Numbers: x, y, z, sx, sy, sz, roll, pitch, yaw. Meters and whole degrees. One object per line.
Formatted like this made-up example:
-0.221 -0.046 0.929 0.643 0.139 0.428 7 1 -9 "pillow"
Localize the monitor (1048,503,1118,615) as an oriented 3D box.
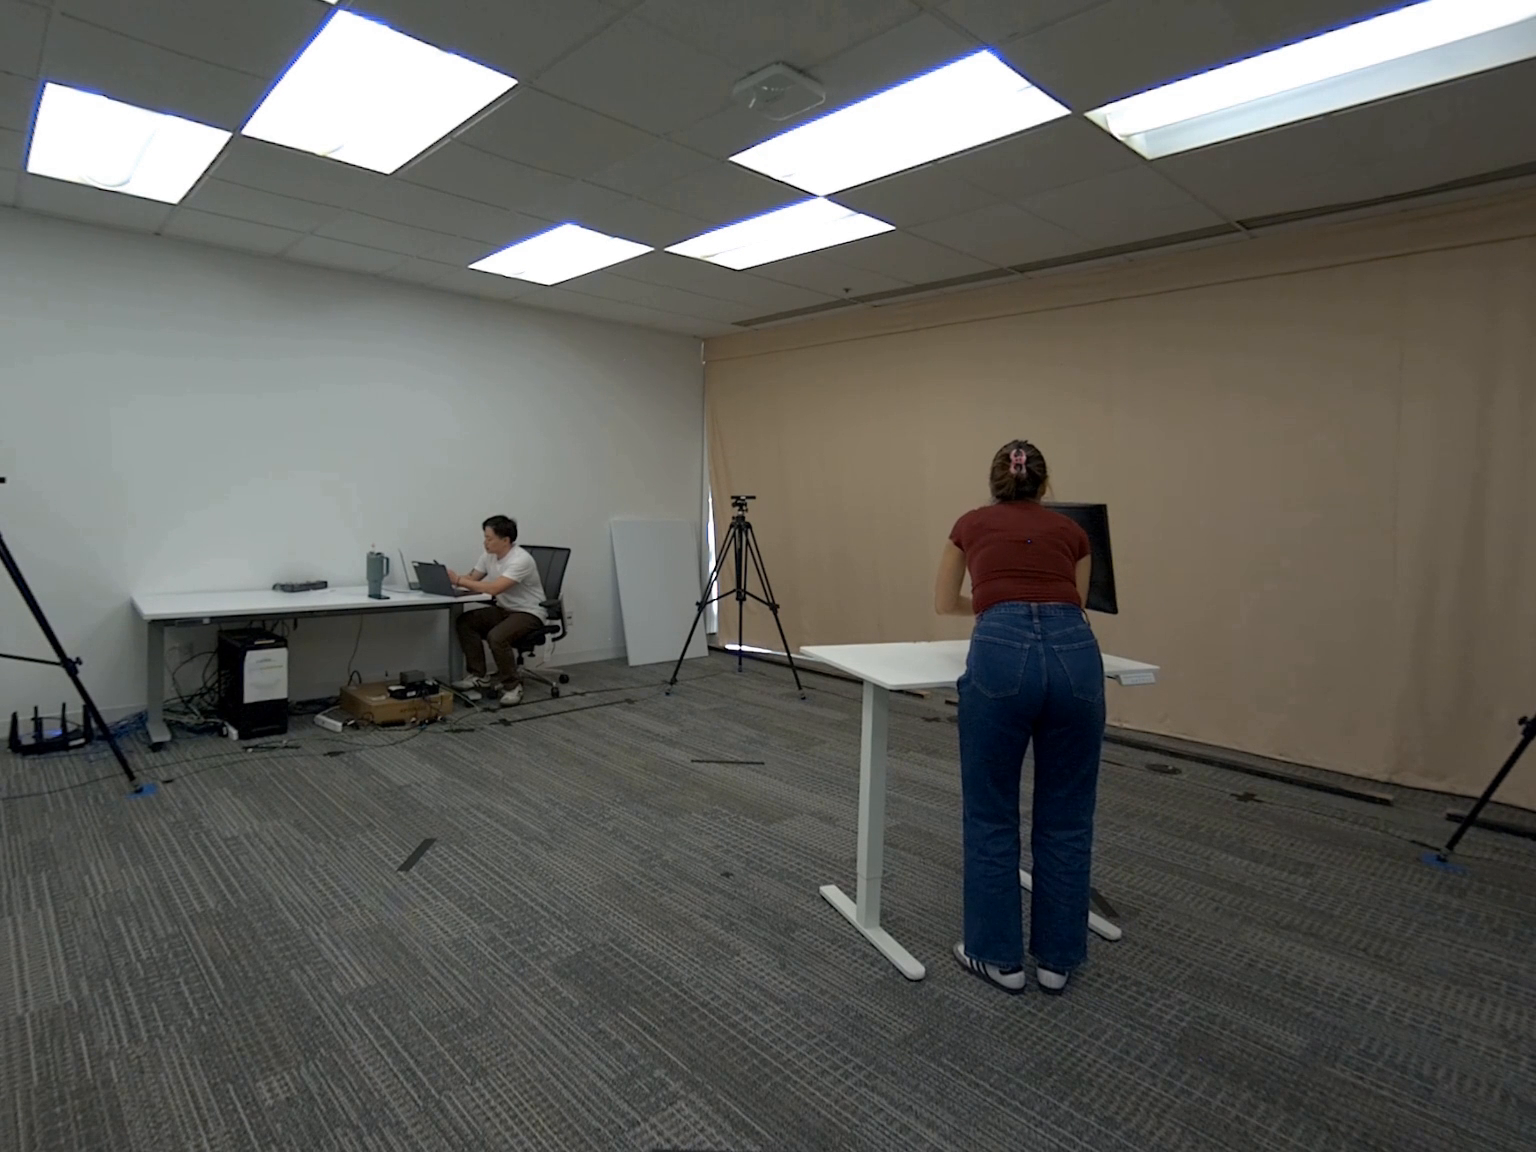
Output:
0.938 0.013 2.857 0.184 0.521 0.549 2 4 -21 "monitor"
